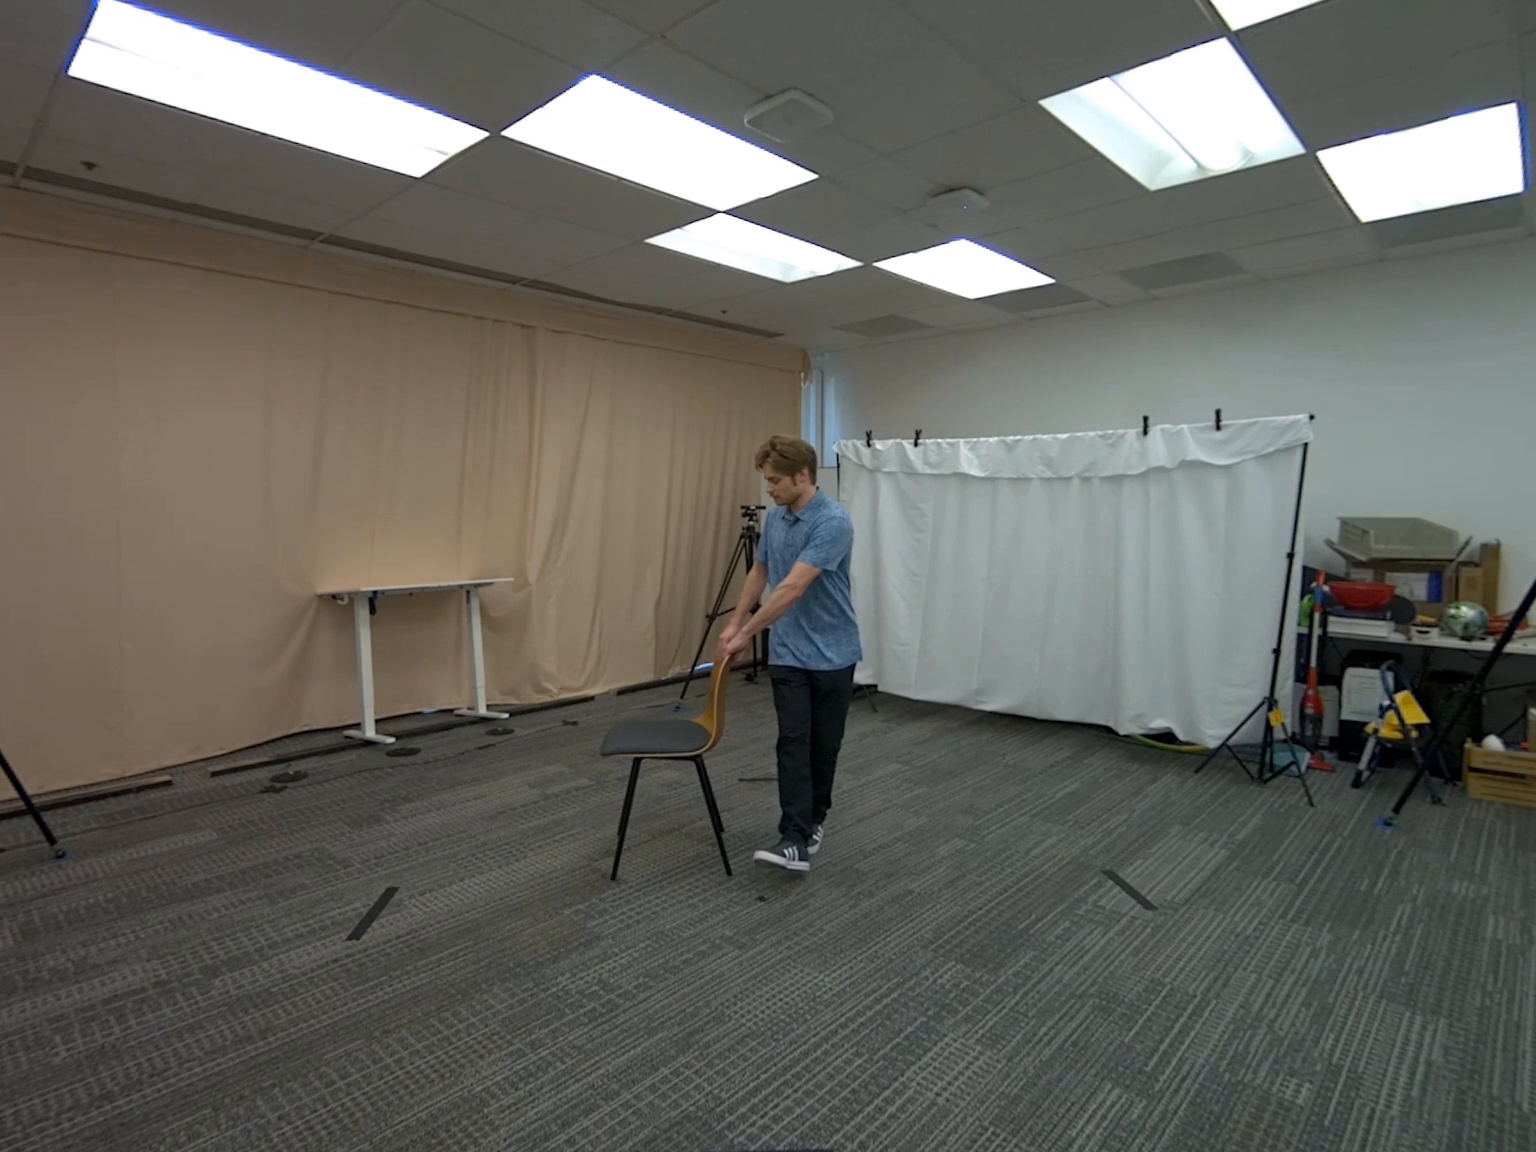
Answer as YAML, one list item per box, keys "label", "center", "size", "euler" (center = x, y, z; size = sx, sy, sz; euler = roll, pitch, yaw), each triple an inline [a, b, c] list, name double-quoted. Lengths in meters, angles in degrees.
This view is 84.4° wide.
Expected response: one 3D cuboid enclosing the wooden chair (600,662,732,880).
- label: "wooden chair"
  center: [-0.401, 0.688, 3.341]
  size: [0.520, 0.875, 0.482]
  euler: [3, 4, -5]
